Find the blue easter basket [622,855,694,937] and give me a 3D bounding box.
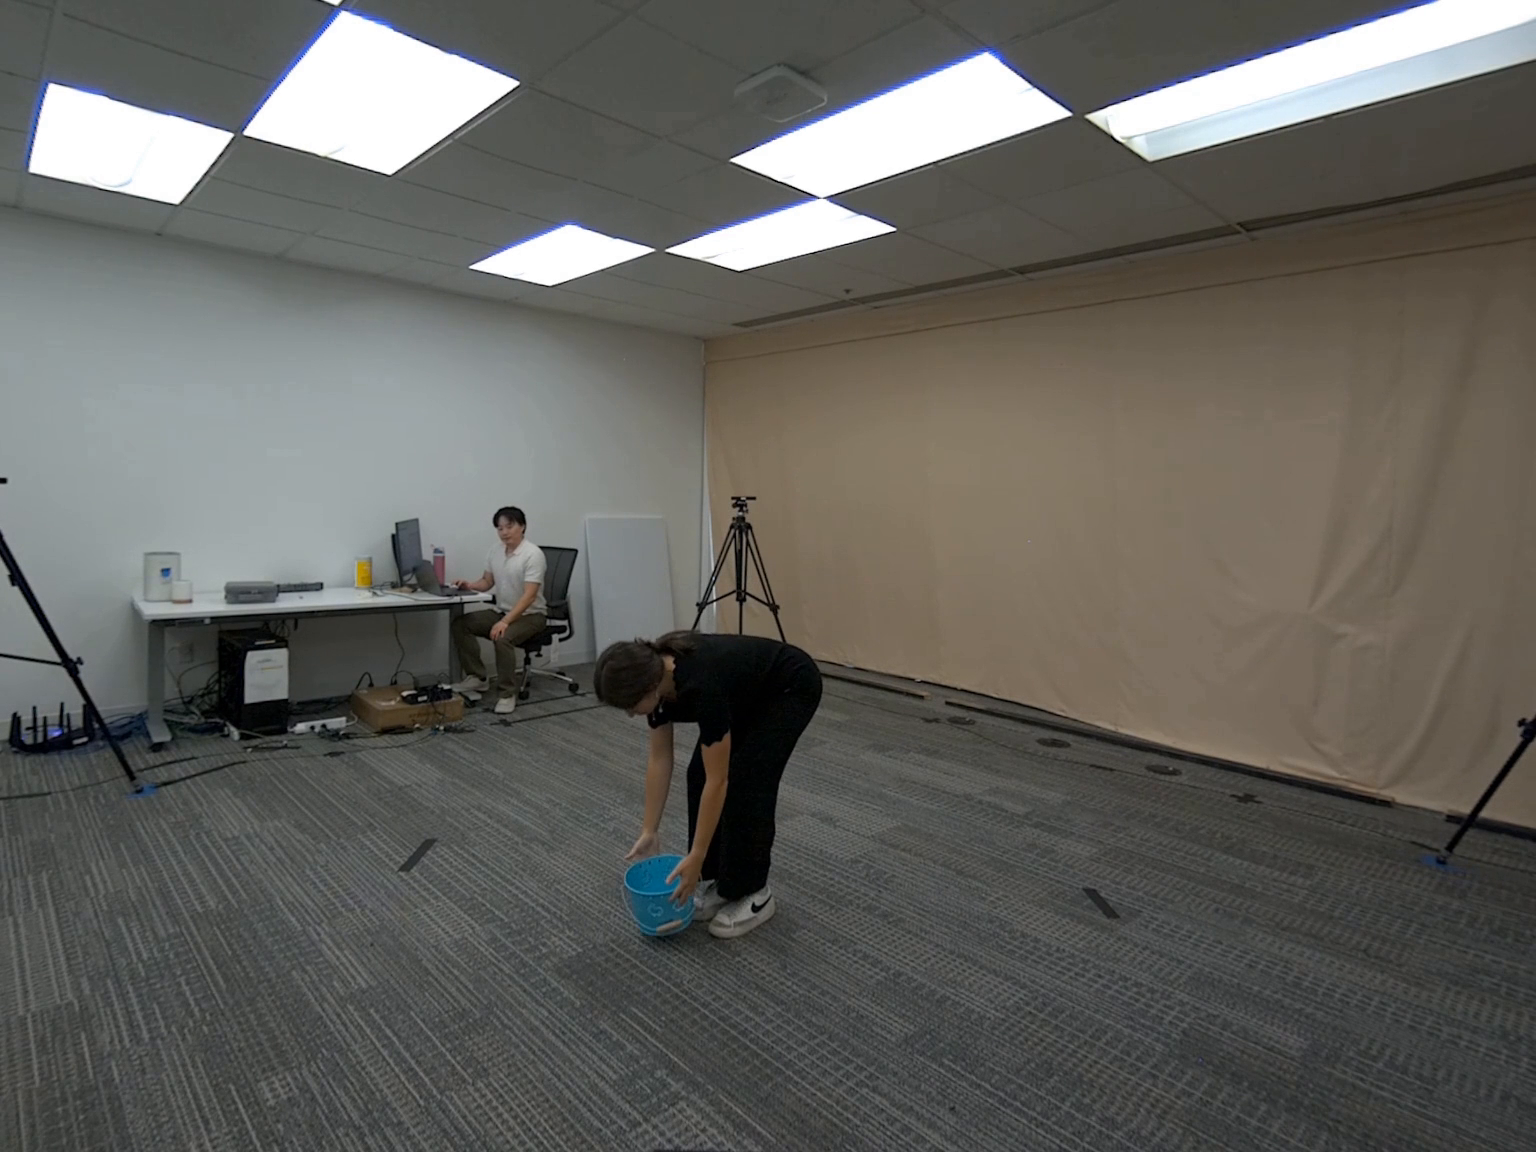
[{"bbox_3d":[-0.344,1.009,2.639,0.243,0.155,0.245,-5,8,-1],"label":"blue easter basket"}]
